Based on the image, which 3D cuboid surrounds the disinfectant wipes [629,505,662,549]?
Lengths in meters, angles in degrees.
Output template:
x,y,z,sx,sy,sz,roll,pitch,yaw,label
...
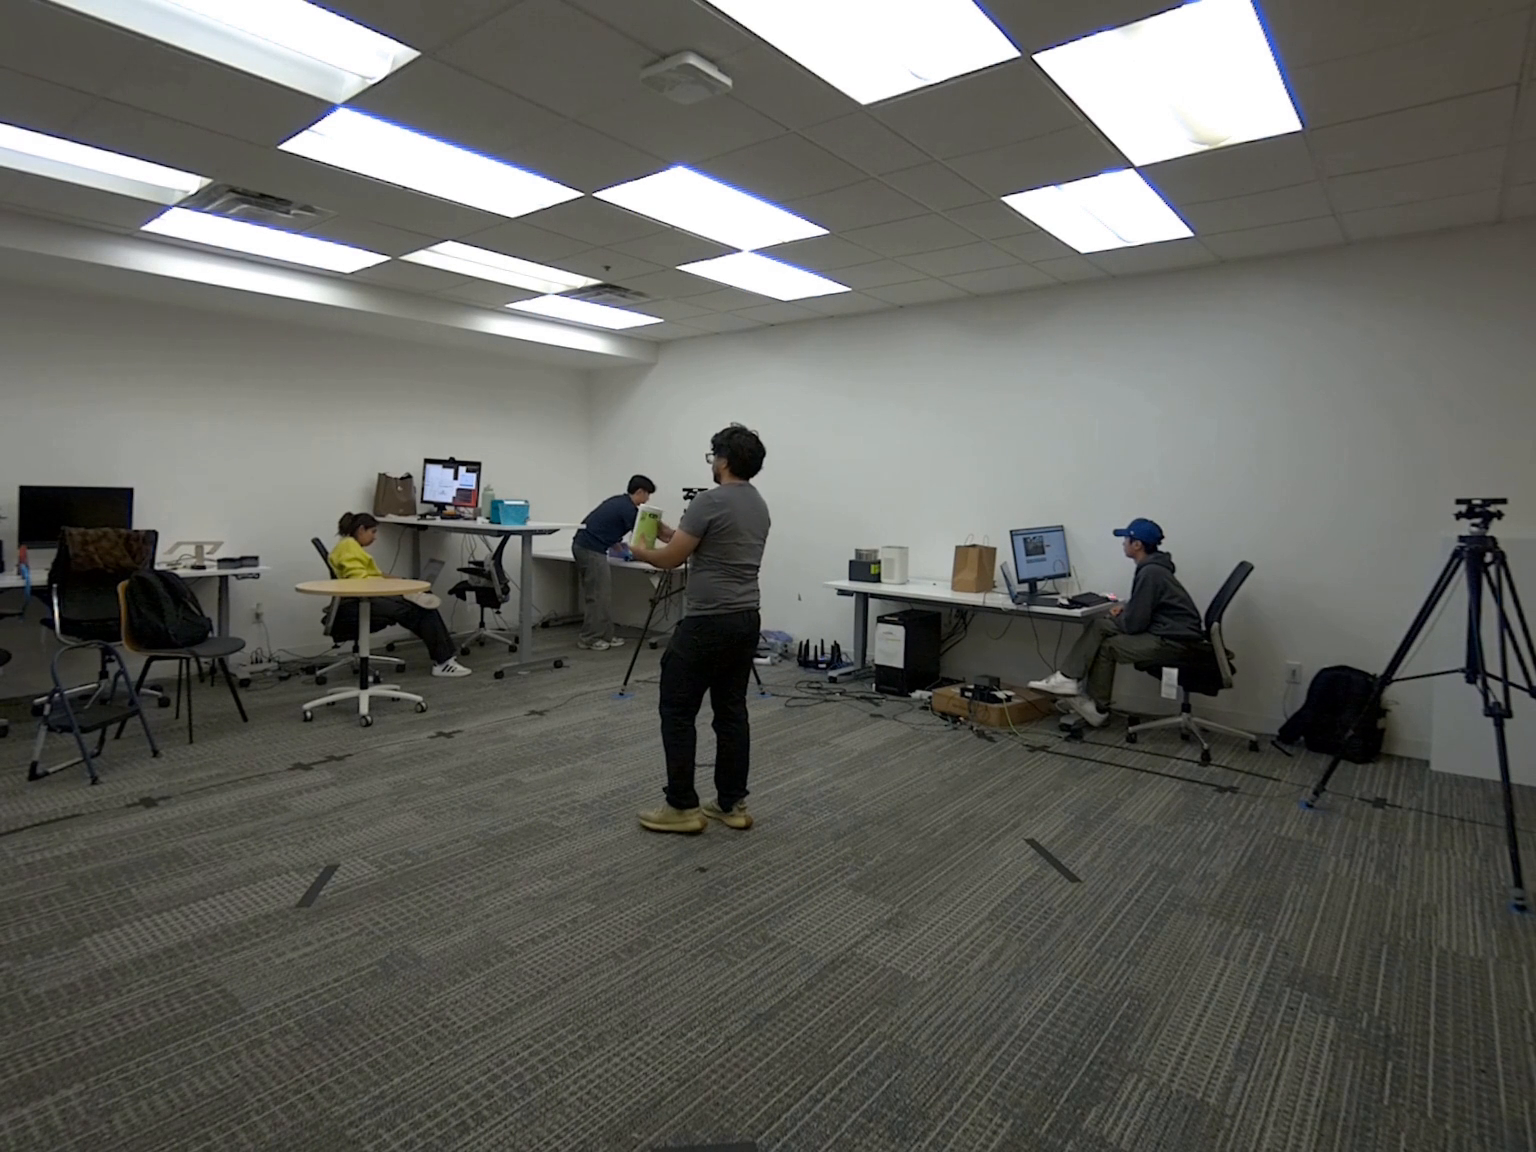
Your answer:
x,y,z,sx,sy,sz,roll,pitch,yaw,label
-0.559,-0.214,3.795,0.117,0.217,0.118,12,1,-2,disinfectant wipes
